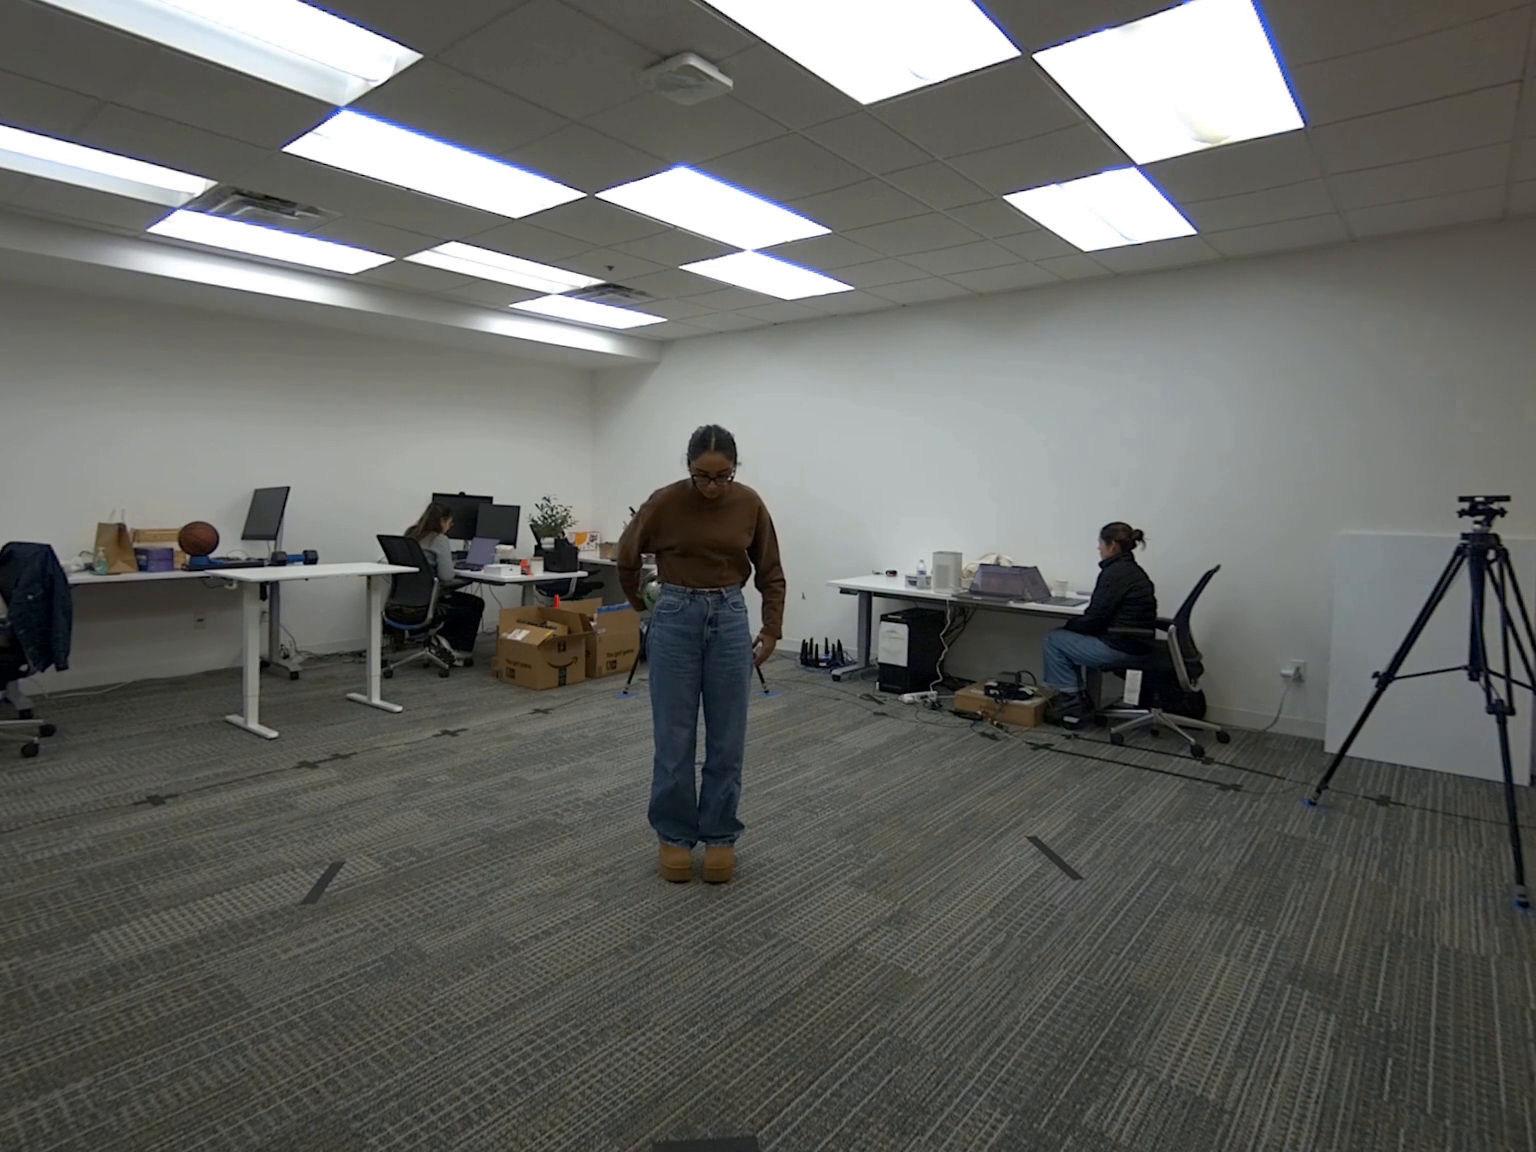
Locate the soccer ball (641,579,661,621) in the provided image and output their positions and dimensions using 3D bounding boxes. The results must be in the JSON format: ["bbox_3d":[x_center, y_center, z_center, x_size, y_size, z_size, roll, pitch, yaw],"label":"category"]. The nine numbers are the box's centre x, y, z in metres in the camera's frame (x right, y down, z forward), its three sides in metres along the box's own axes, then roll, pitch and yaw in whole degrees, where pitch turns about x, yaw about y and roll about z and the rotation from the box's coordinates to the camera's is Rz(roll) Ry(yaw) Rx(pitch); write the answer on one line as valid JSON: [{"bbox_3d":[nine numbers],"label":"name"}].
[{"bbox_3d":[-0.404,0.058,3.222,0.187,0.187,0.188,1,4,-2],"label":"soccer ball"}]
